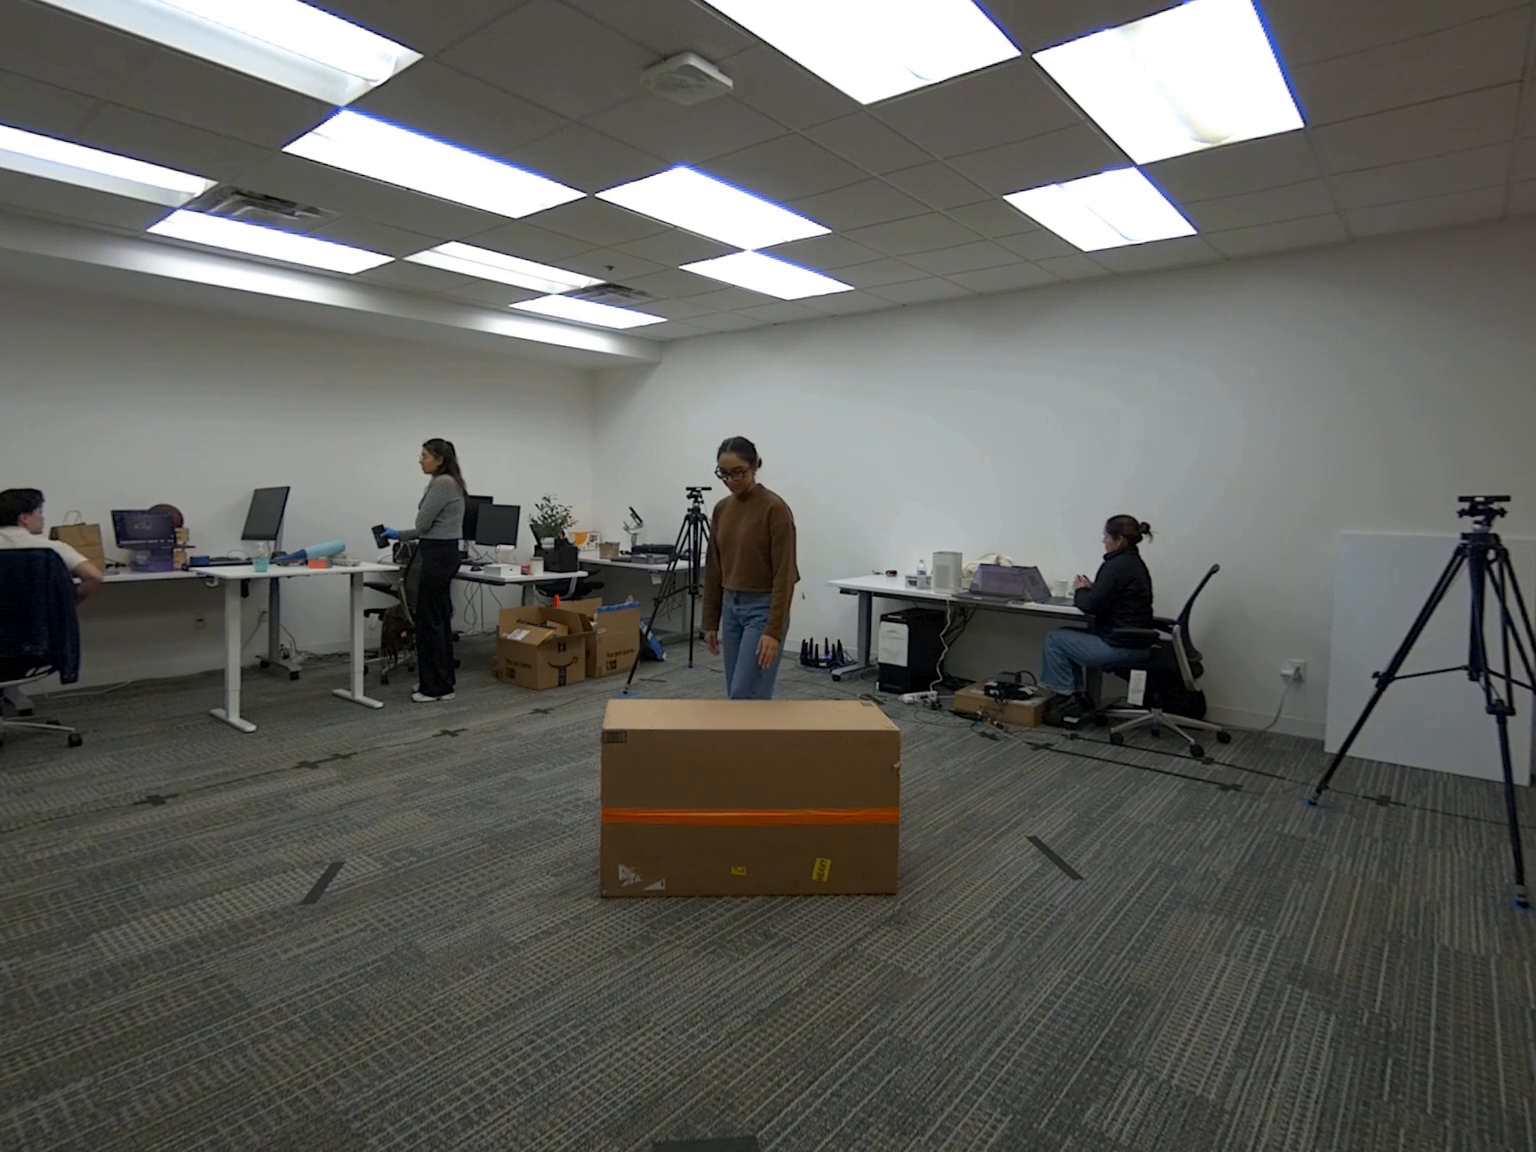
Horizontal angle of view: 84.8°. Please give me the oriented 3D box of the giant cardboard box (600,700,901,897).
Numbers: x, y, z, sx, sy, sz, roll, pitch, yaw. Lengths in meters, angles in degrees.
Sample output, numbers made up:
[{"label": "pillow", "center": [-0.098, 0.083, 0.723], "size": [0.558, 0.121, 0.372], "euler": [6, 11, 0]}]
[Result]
[{"label": "giant cardboard box", "center": [-0.087, 0.784, 3.088], "size": [1.023, 0.583, 0.449], "euler": [1, 2, -4]}]
